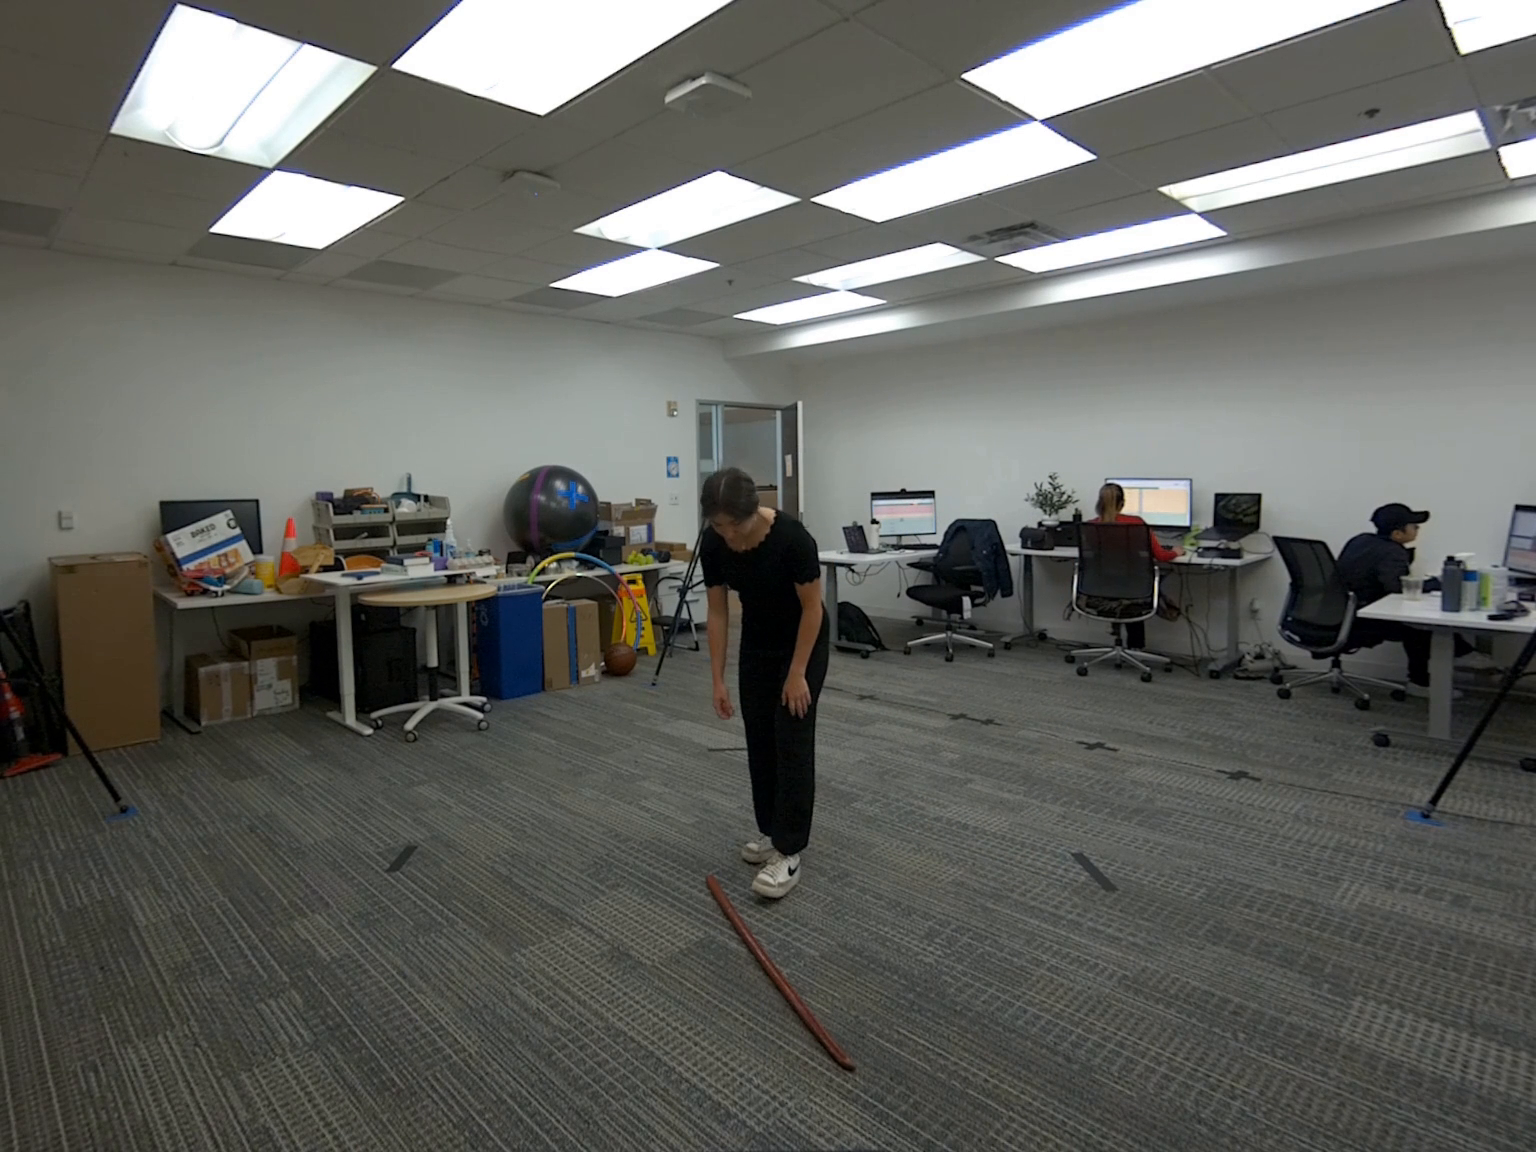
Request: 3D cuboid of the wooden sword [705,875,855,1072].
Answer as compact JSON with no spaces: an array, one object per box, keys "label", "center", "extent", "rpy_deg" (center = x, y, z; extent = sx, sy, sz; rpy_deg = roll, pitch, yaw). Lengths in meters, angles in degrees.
[{"label":"wooden sword","center":[-0.012,1.100,2.483],"extent":[0.024,0.051,1.049],"rpy_deg":[-9,10,-21]}]
